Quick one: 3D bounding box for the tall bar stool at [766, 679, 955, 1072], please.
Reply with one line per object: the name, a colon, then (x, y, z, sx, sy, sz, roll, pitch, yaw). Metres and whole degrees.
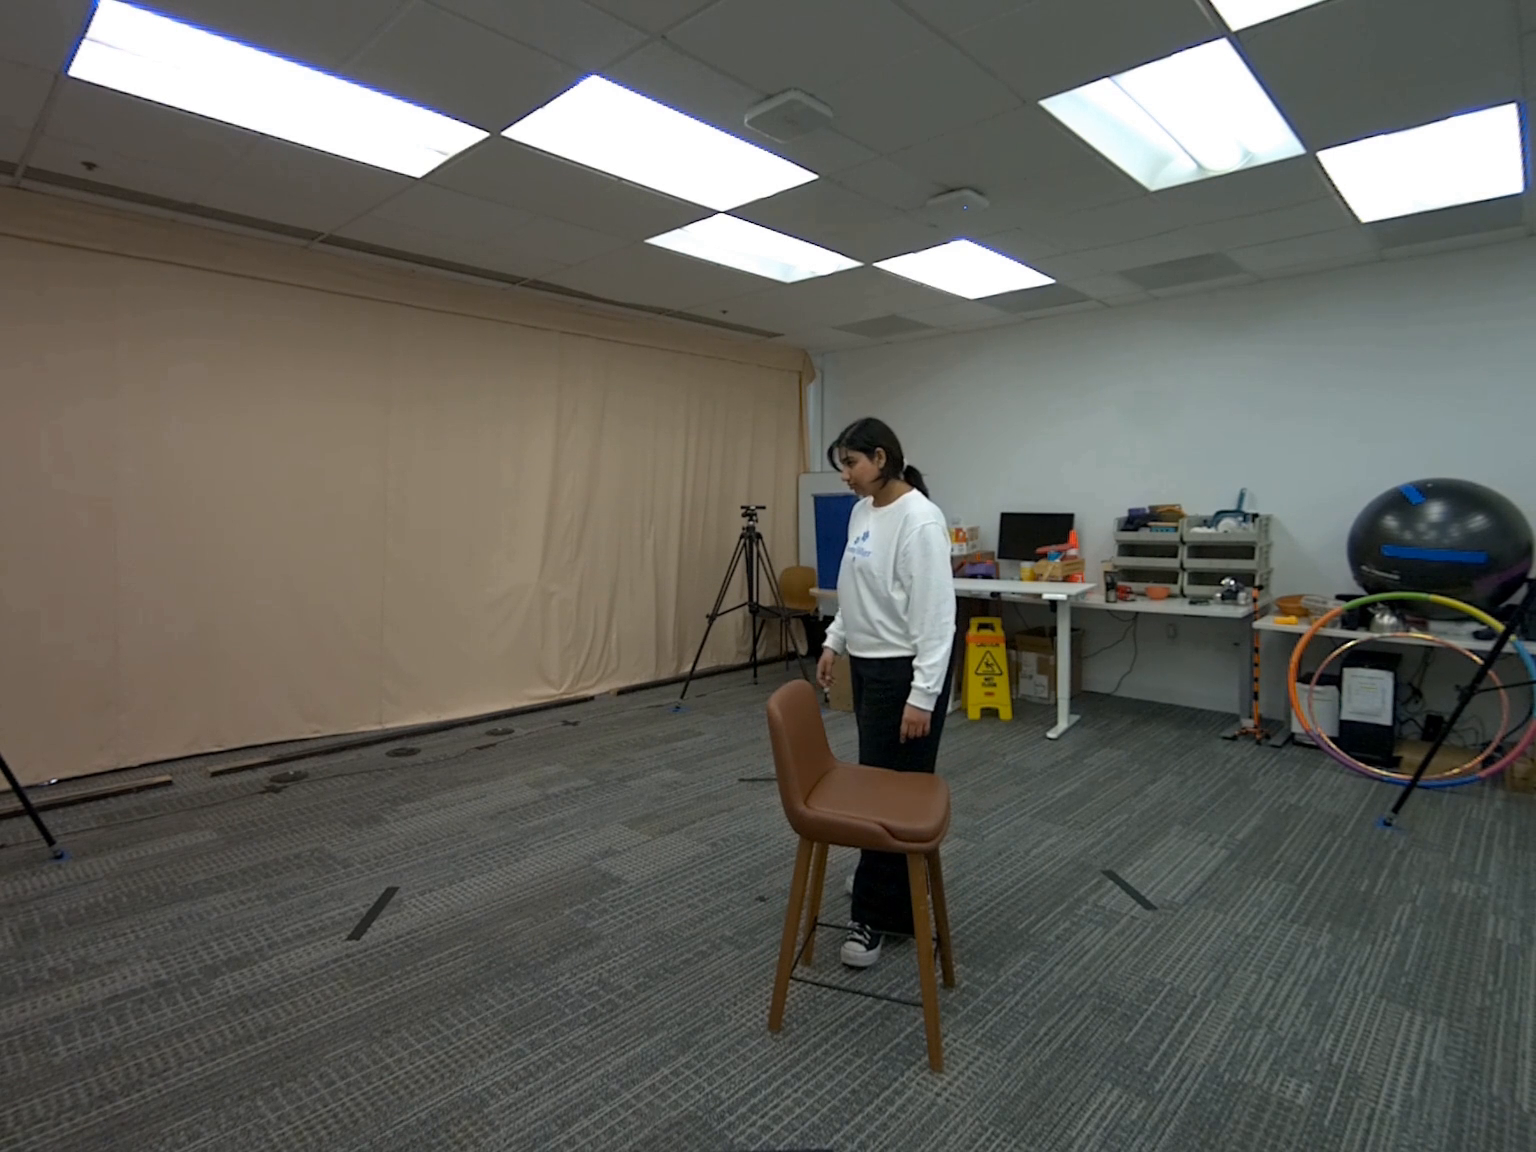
tall bar stool: (0.273, 0.768, 2.305, 0.478, 0.888, 0.448, 0, 3, 20)
